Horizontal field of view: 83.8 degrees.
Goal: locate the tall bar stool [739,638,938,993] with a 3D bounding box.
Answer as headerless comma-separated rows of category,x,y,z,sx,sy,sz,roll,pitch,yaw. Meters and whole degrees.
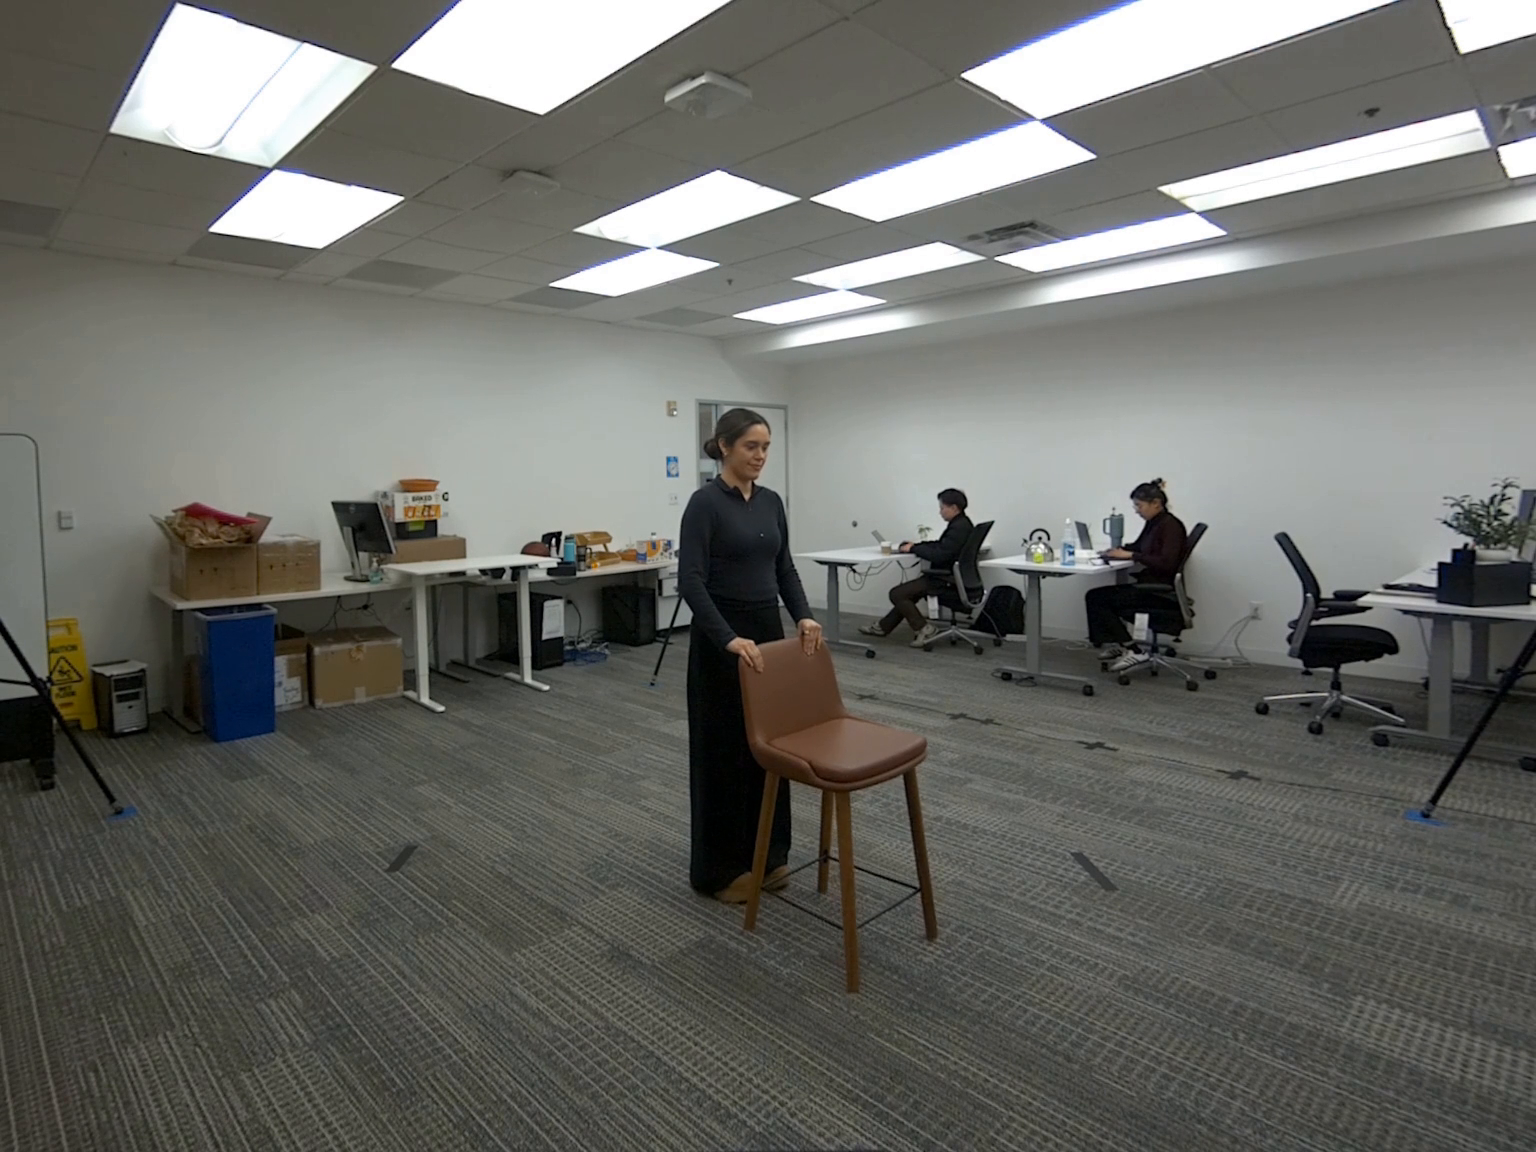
tall bar stool,0.207,0.659,2.596,0.444,0.888,0.481,-4,3,-44
